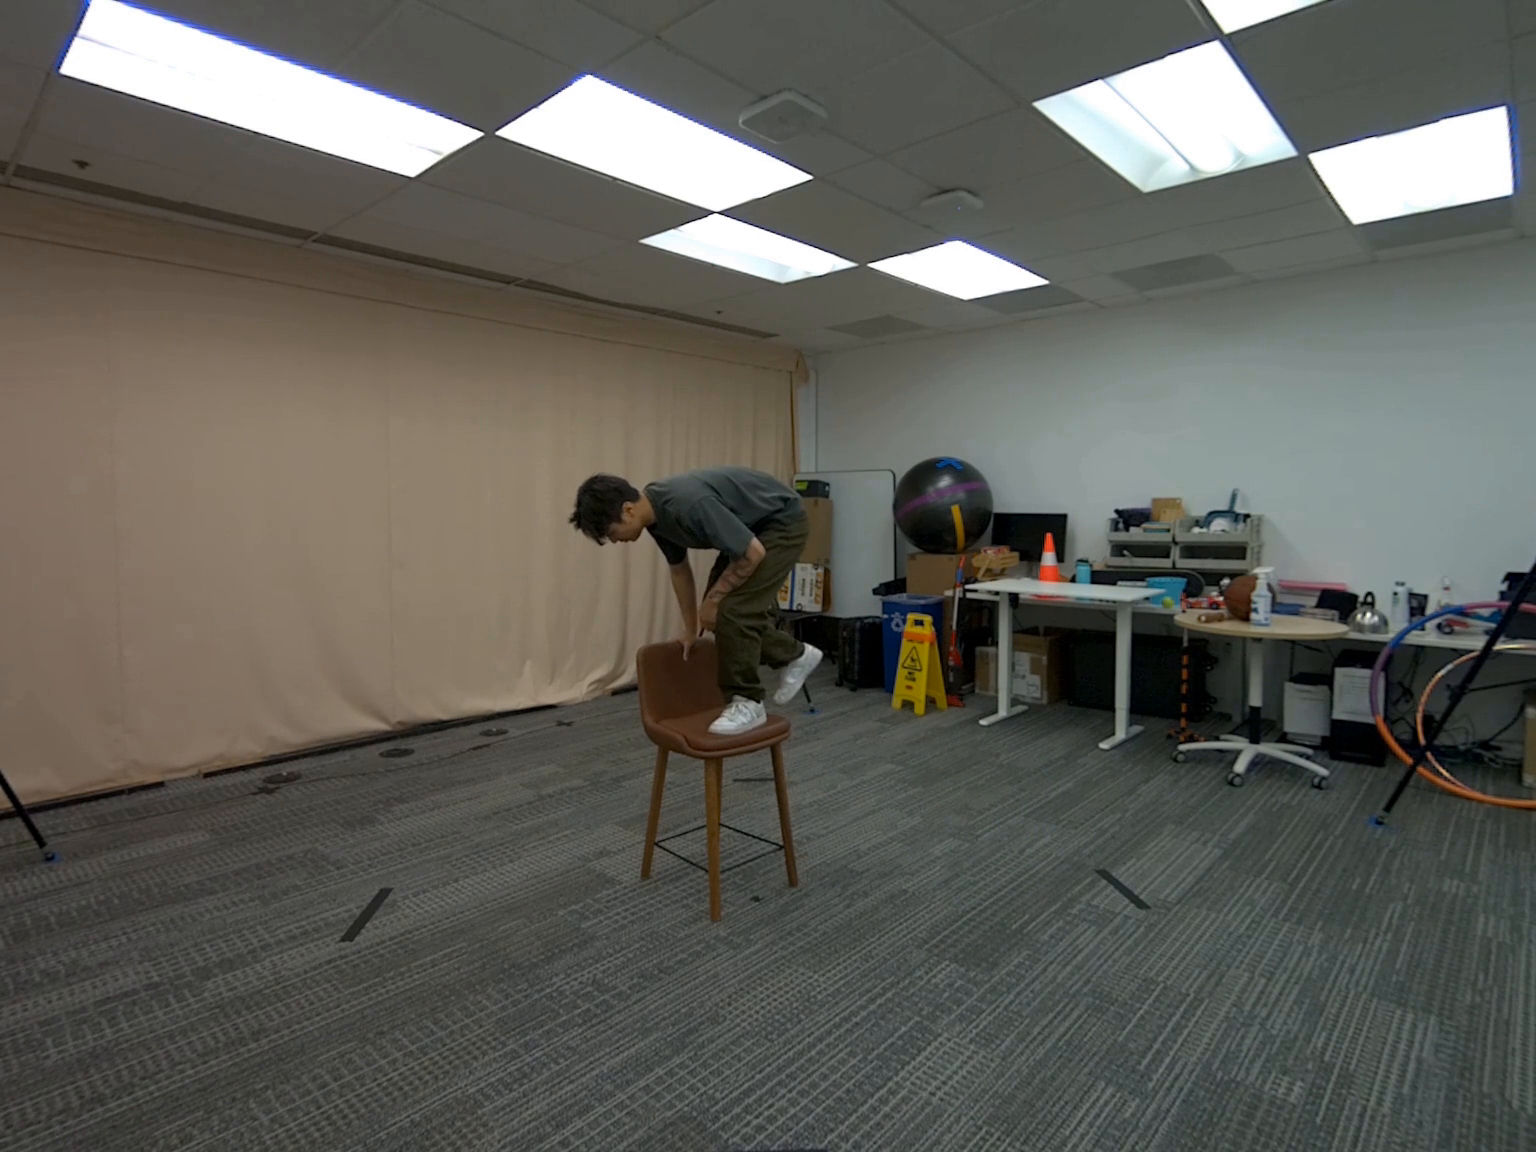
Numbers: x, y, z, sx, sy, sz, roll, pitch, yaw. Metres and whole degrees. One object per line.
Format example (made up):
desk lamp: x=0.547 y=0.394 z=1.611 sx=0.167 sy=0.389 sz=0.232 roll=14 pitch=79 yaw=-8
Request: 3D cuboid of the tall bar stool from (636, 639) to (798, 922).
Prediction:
tall bar stool: x=-0.196 y=0.698 z=3.098 sx=0.442 sy=0.889 sz=0.483 roll=-3 pitch=3 yaw=-43
